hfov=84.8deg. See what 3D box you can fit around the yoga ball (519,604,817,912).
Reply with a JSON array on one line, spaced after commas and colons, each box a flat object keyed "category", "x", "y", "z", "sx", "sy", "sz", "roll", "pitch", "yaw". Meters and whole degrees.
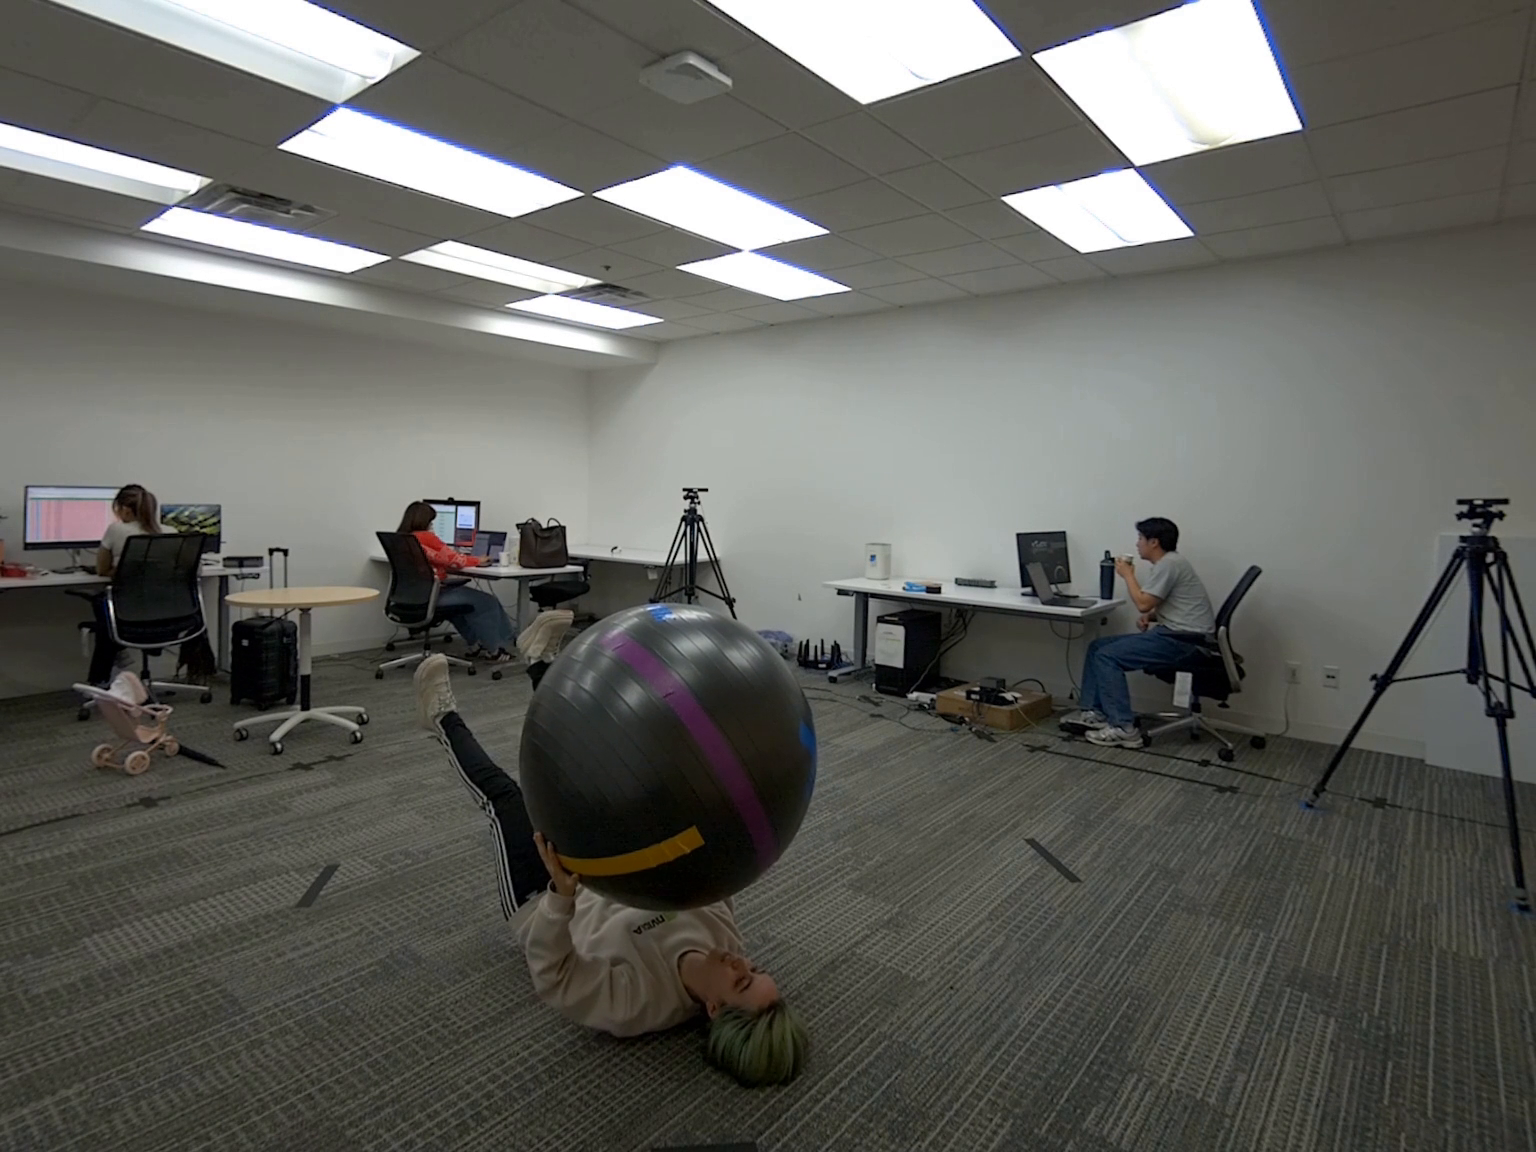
[{"category": "yoga ball", "x": -0.260, "y": 0.453, "z": 2.183, "sx": 0.757, "sy": 0.755, "sz": 0.762, "roll": 1, "pitch": 4, "yaw": -2}]
